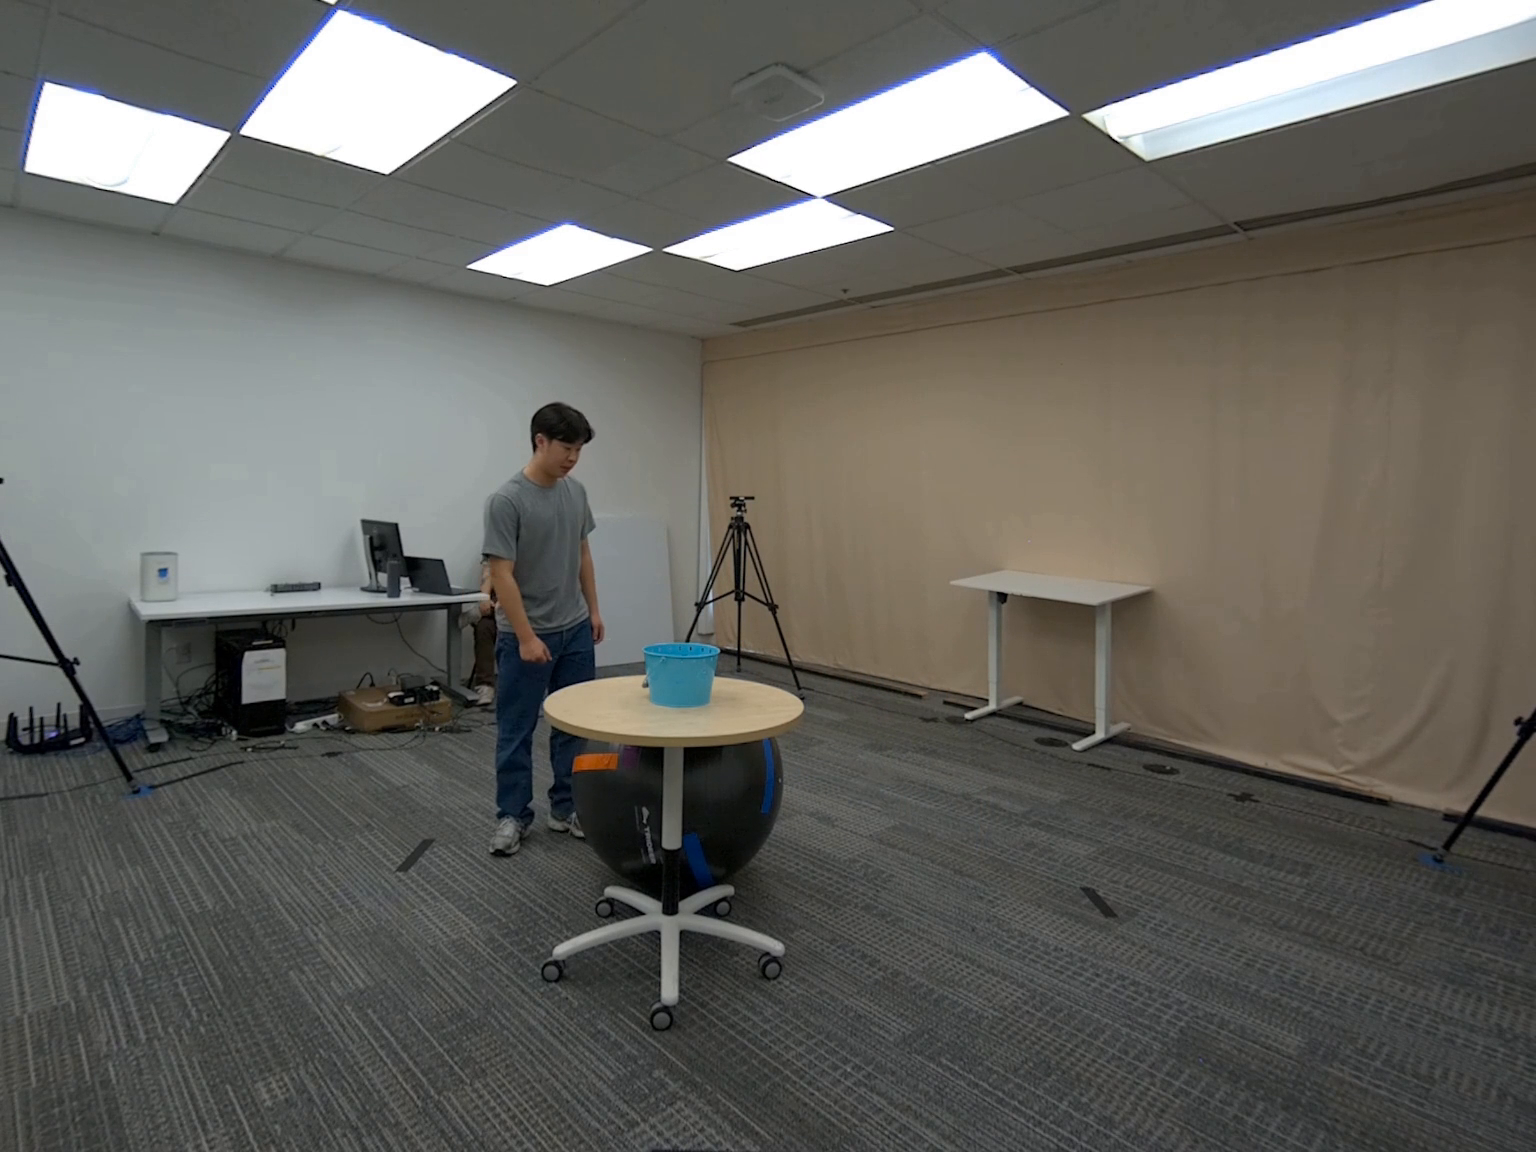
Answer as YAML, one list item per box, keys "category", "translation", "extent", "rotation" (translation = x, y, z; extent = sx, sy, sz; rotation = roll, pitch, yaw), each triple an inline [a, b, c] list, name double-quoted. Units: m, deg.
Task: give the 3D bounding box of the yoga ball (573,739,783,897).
- category: "yoga ball"
  translation: [-0.326, 0.743, 3.027]
  extent: [0.757, 0.756, 0.761]
  rotation: [1, 4, -1]
